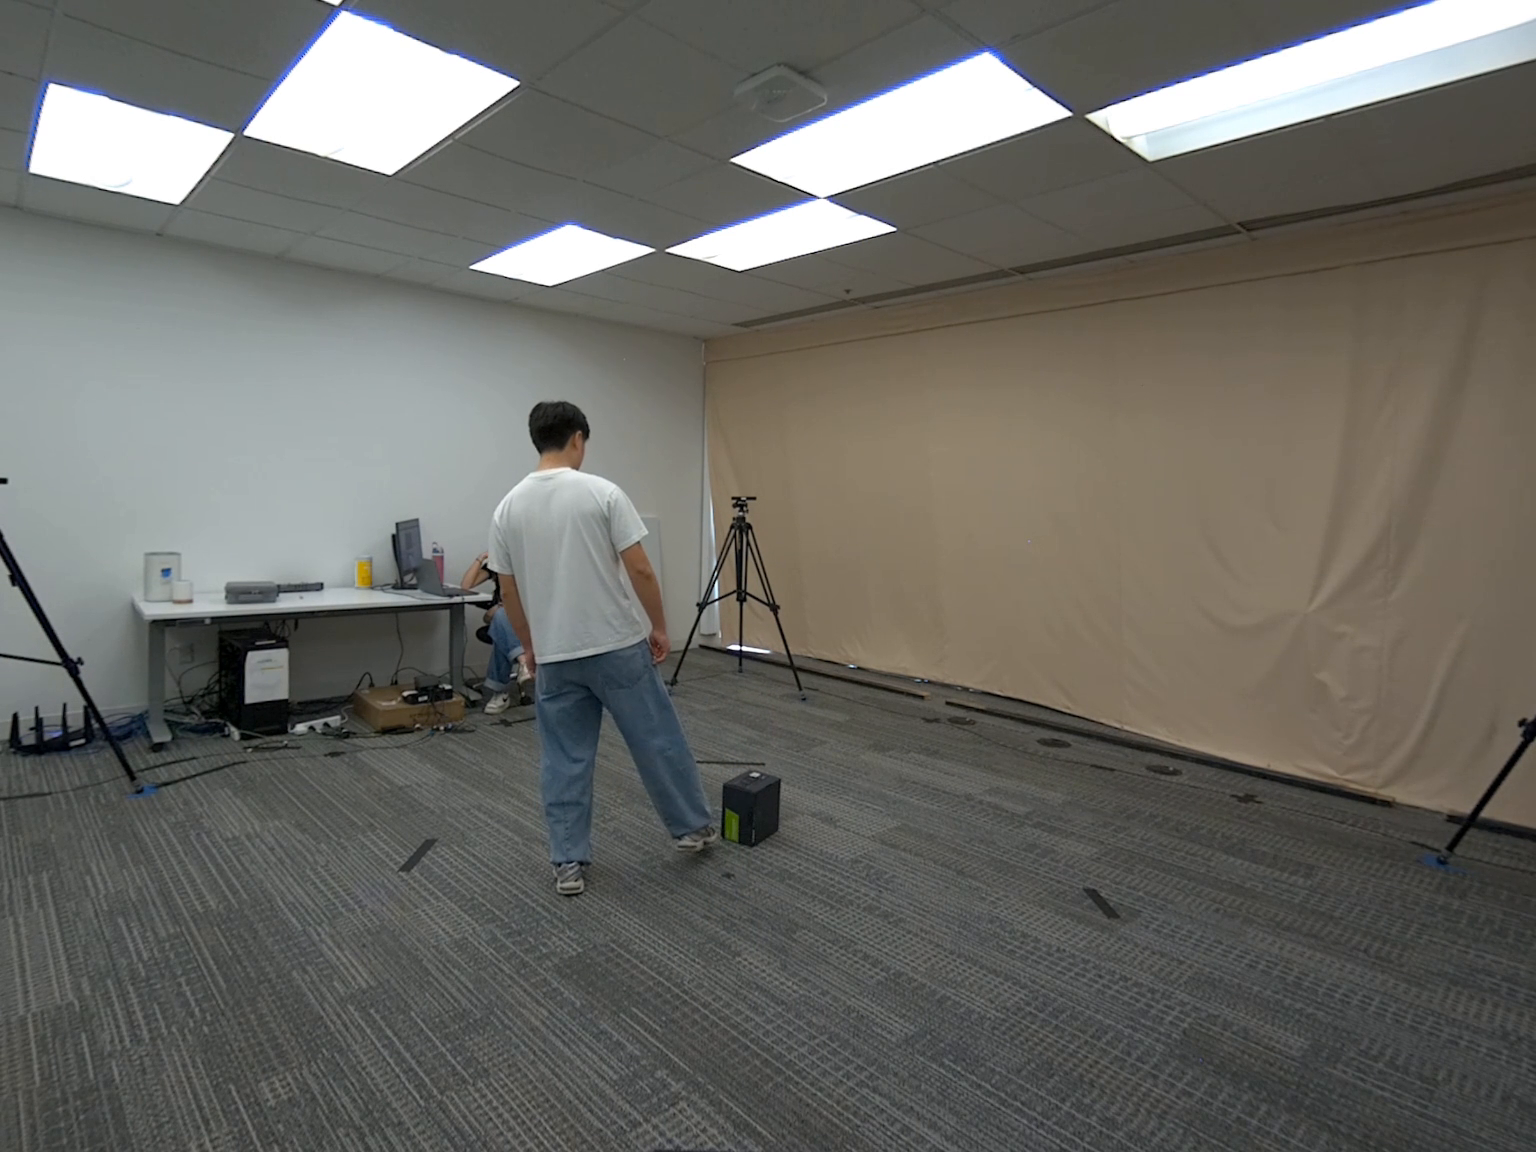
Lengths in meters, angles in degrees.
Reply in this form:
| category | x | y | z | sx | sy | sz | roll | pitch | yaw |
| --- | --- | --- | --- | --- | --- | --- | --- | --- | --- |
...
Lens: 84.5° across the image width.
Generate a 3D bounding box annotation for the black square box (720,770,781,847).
| category | x | y | z | sx | sy | sz | roll | pitch | yaw |
| --- | --- | --- | --- | --- | --- | --- | --- | --- | --- |
| black square box | -0.086 | 0.953 | 3.478 | 0.159 | 0.227 | 0.213 | 4 | 5 | 30 |
